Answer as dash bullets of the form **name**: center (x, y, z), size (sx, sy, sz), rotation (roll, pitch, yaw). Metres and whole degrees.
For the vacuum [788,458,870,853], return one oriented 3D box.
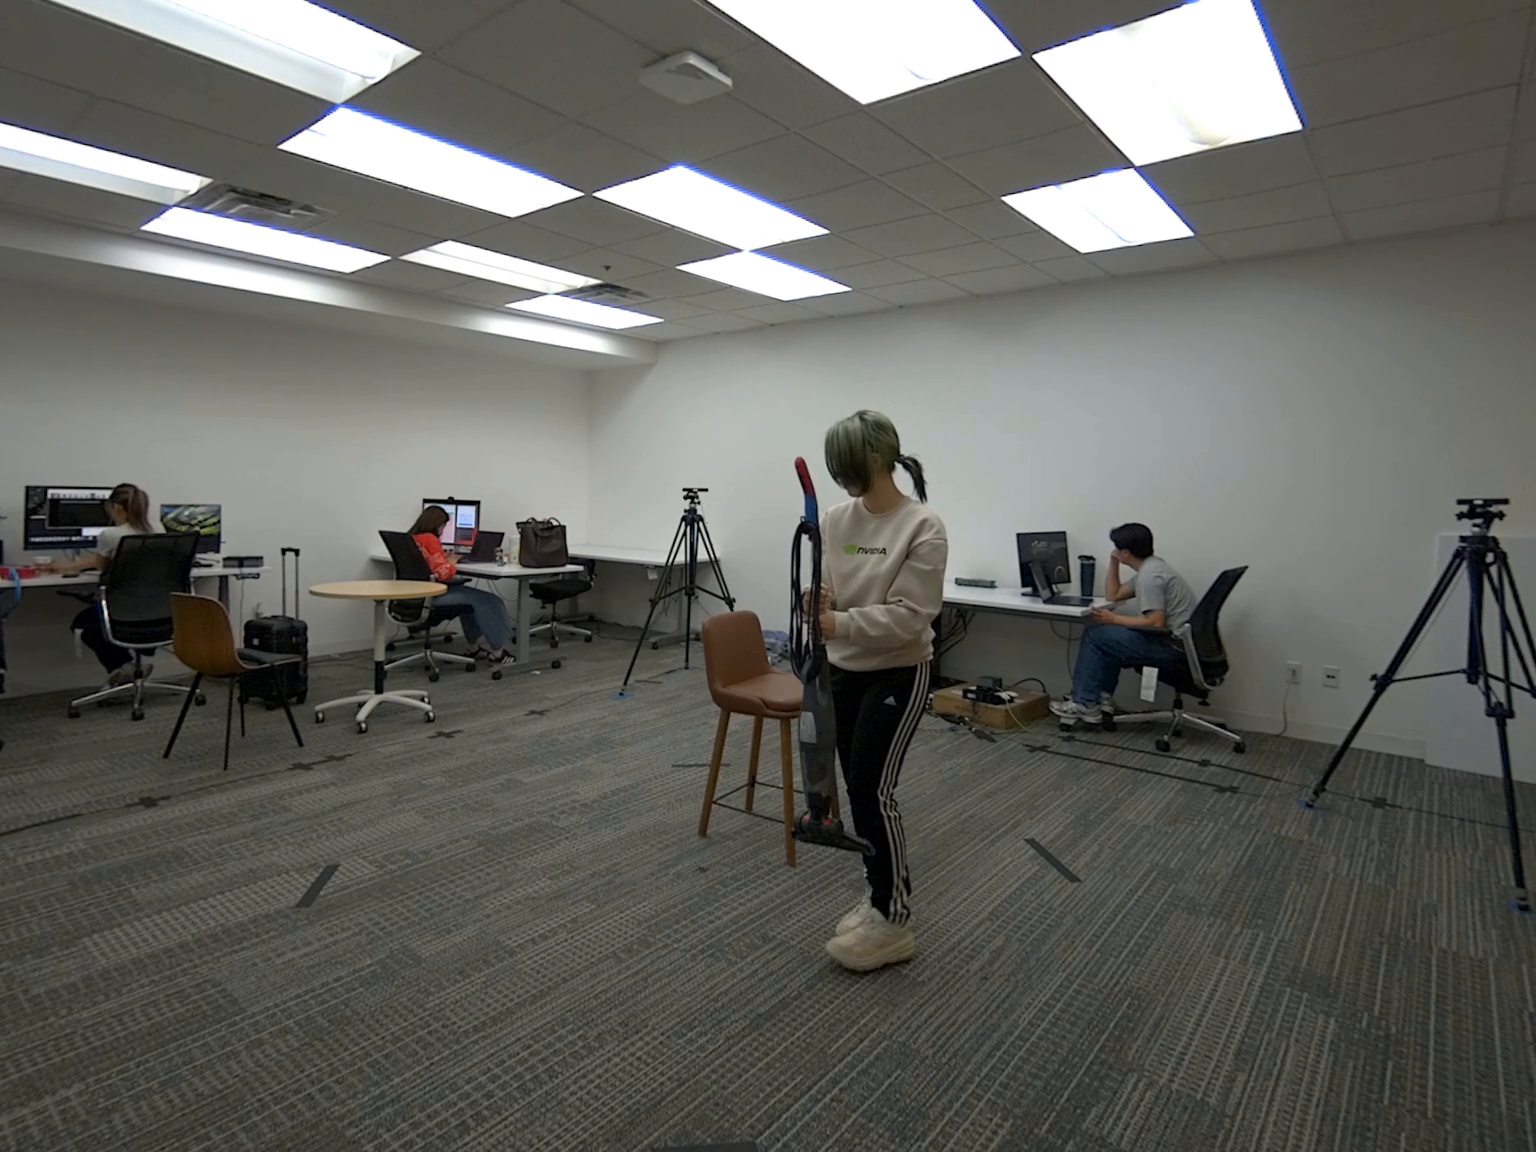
- **vacuum**: center (0.118, 0.198, 2.370), size (0.259, 1.047, 0.141), rotation (-3, 2, 27)
